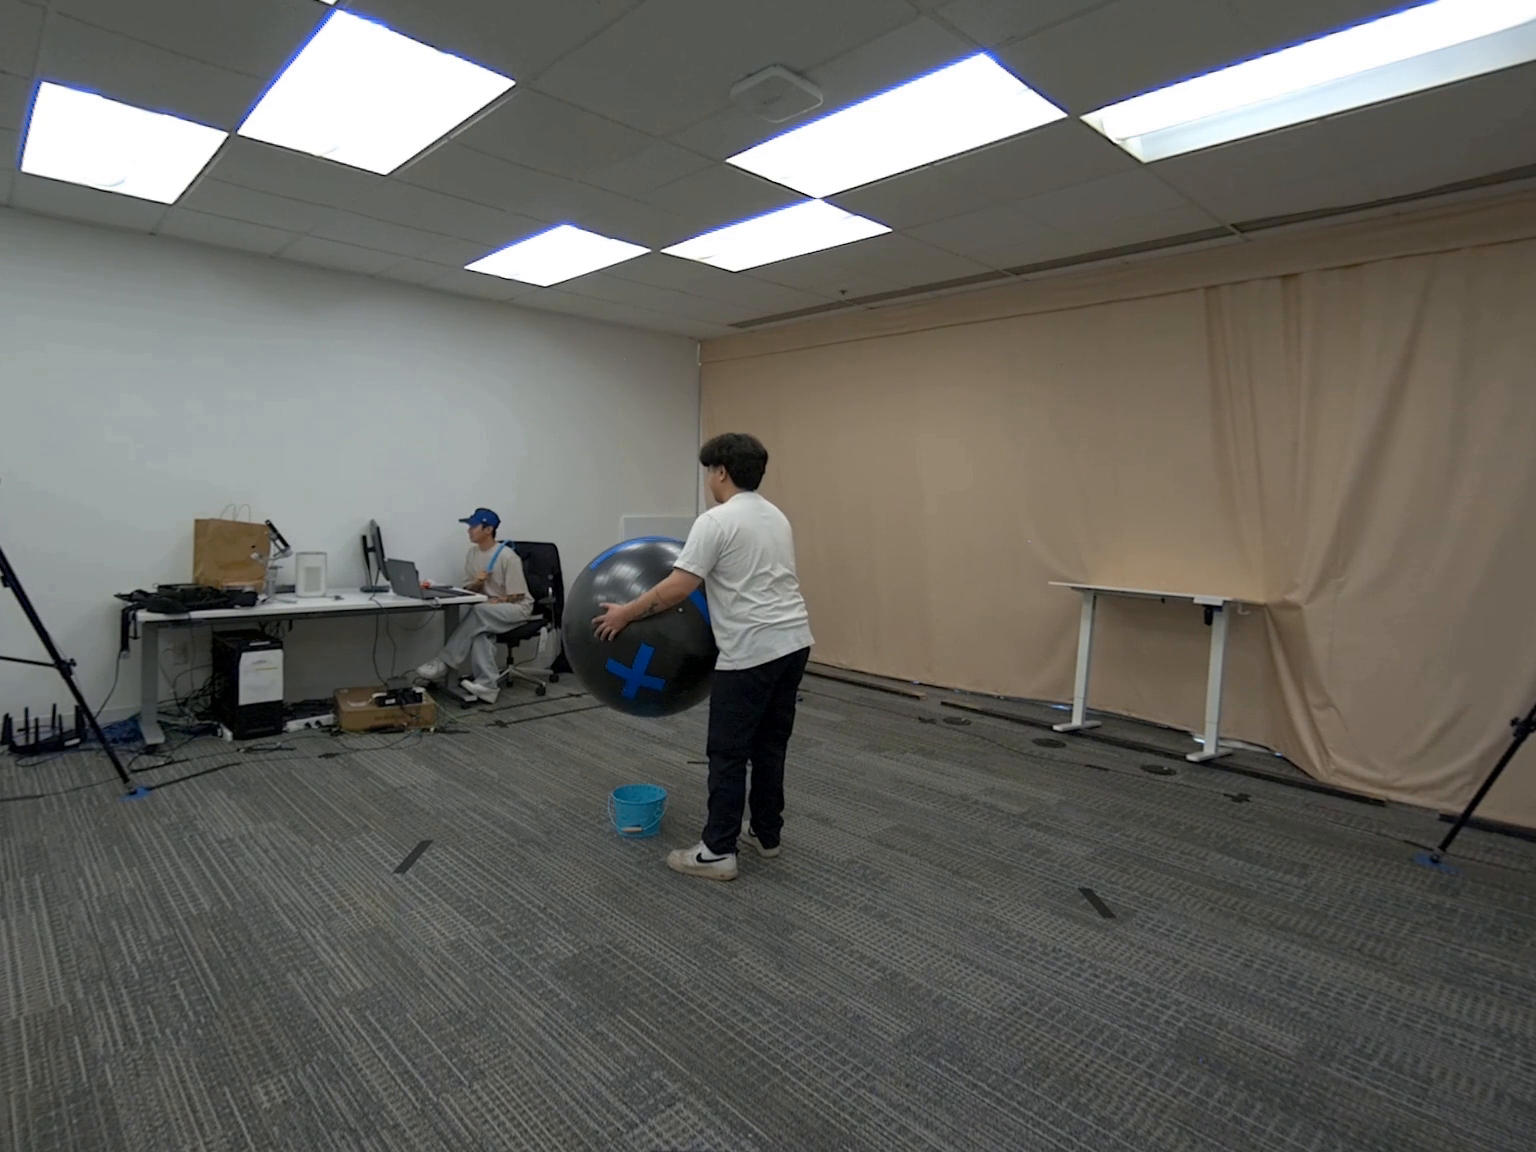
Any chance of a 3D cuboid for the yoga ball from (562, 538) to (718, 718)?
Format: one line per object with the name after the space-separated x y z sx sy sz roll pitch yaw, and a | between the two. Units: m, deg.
-0.494 0.216 3.569 0.757 0.756 0.760 1 4 -1 | yoga ball
